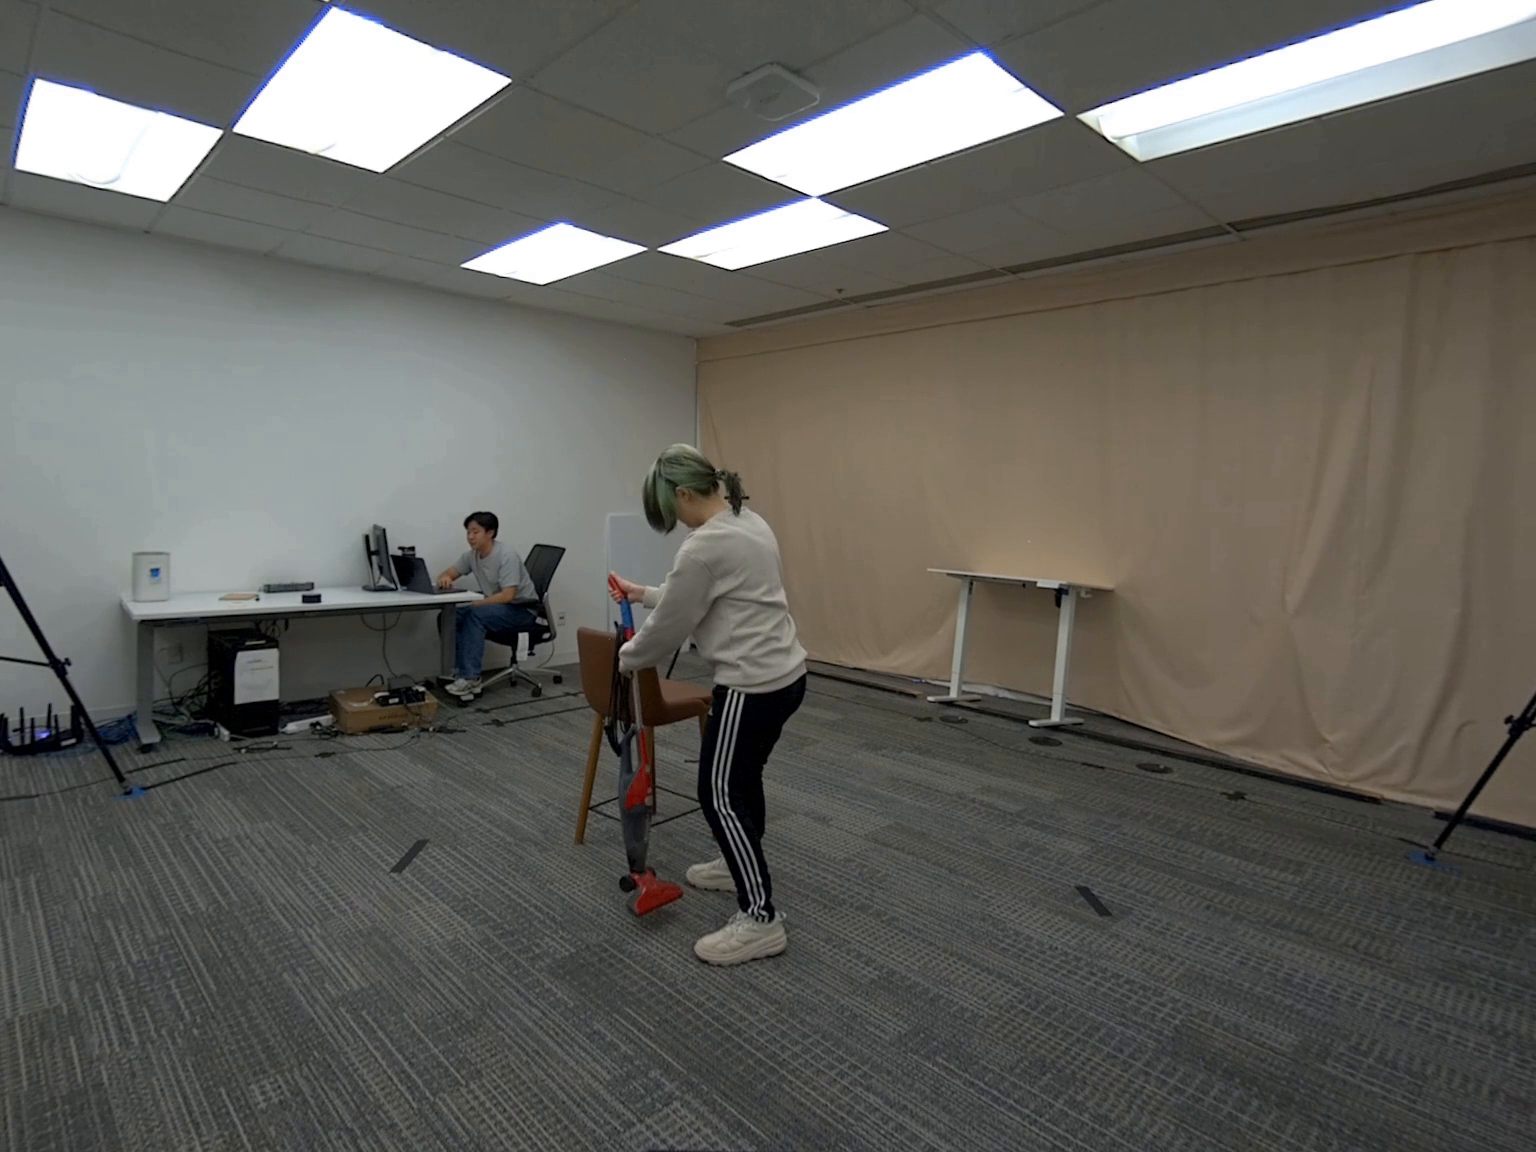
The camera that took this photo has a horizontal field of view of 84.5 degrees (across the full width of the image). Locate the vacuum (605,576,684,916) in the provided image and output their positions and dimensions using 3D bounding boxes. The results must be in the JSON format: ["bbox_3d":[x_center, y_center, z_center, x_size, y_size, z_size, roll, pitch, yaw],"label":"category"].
[{"bbox_3d":[-0.470,0.529,2.852,0.146,1.059,0.247,-13,-12,23],"label":"vacuum"}]
